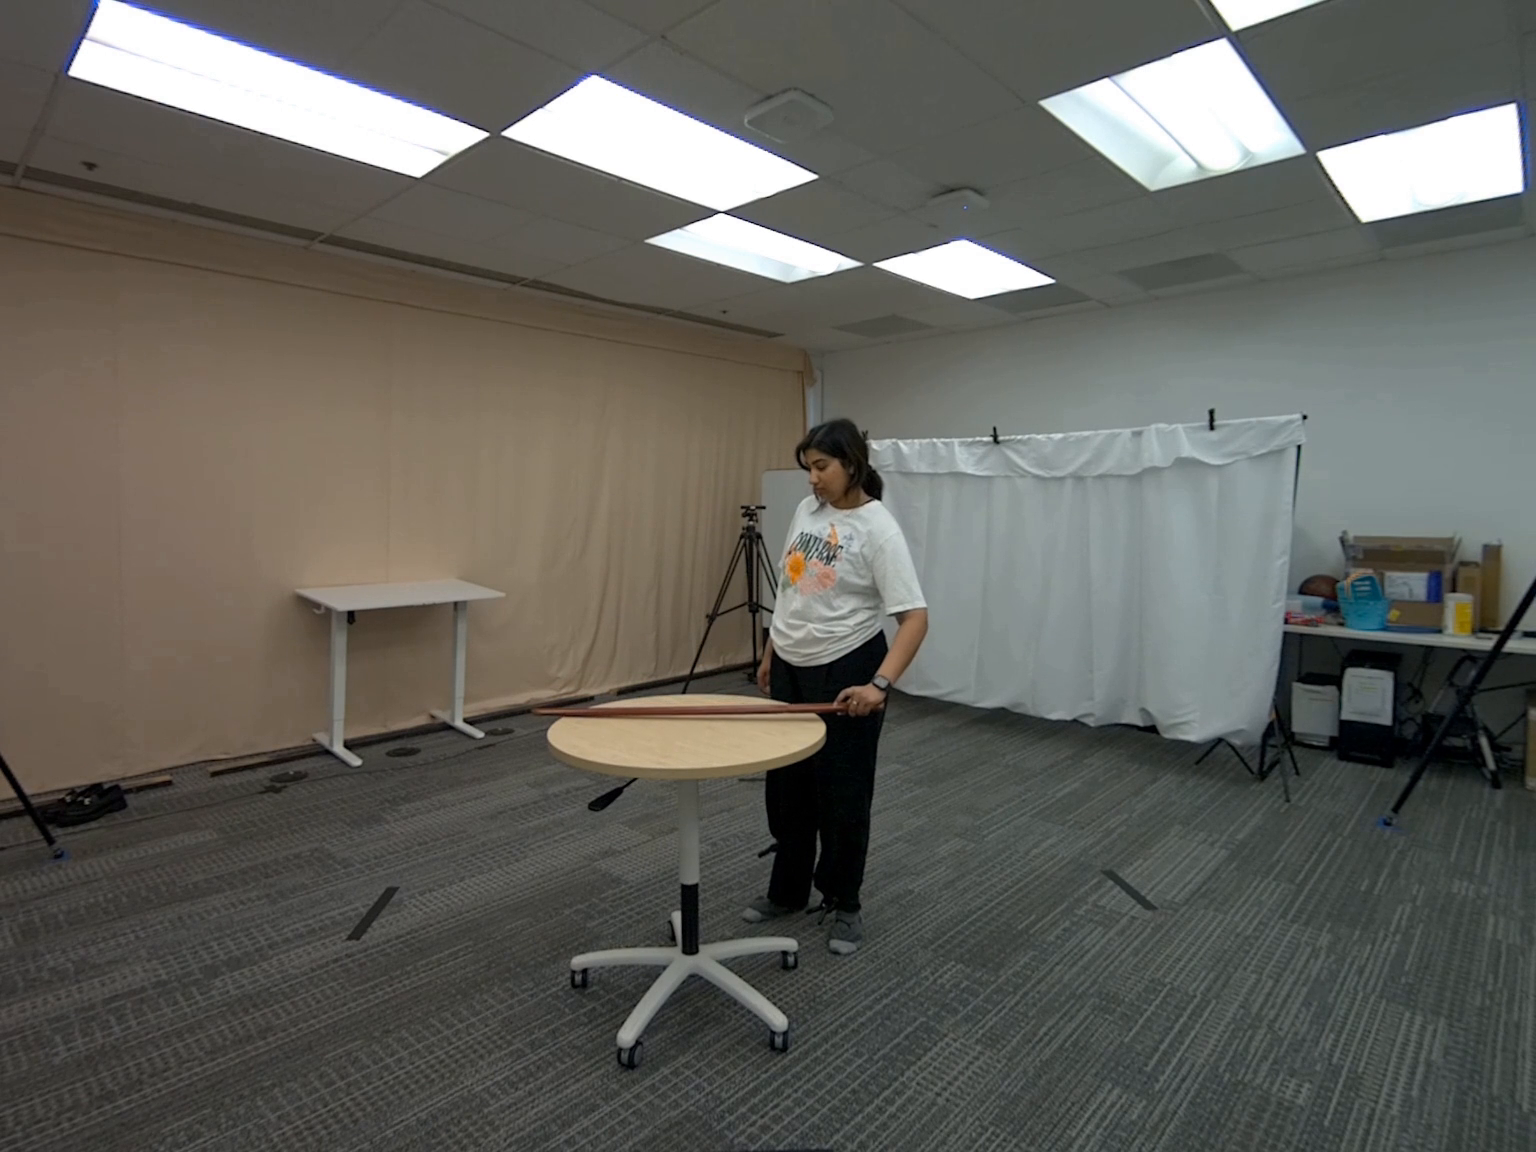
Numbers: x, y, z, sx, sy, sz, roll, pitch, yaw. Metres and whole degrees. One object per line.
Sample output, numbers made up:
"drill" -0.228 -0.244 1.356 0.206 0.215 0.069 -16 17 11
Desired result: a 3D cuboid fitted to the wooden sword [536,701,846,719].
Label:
"wooden sword" -0.148 0.358 2.447 1.035 0.024 0.050 -3 -22 9
